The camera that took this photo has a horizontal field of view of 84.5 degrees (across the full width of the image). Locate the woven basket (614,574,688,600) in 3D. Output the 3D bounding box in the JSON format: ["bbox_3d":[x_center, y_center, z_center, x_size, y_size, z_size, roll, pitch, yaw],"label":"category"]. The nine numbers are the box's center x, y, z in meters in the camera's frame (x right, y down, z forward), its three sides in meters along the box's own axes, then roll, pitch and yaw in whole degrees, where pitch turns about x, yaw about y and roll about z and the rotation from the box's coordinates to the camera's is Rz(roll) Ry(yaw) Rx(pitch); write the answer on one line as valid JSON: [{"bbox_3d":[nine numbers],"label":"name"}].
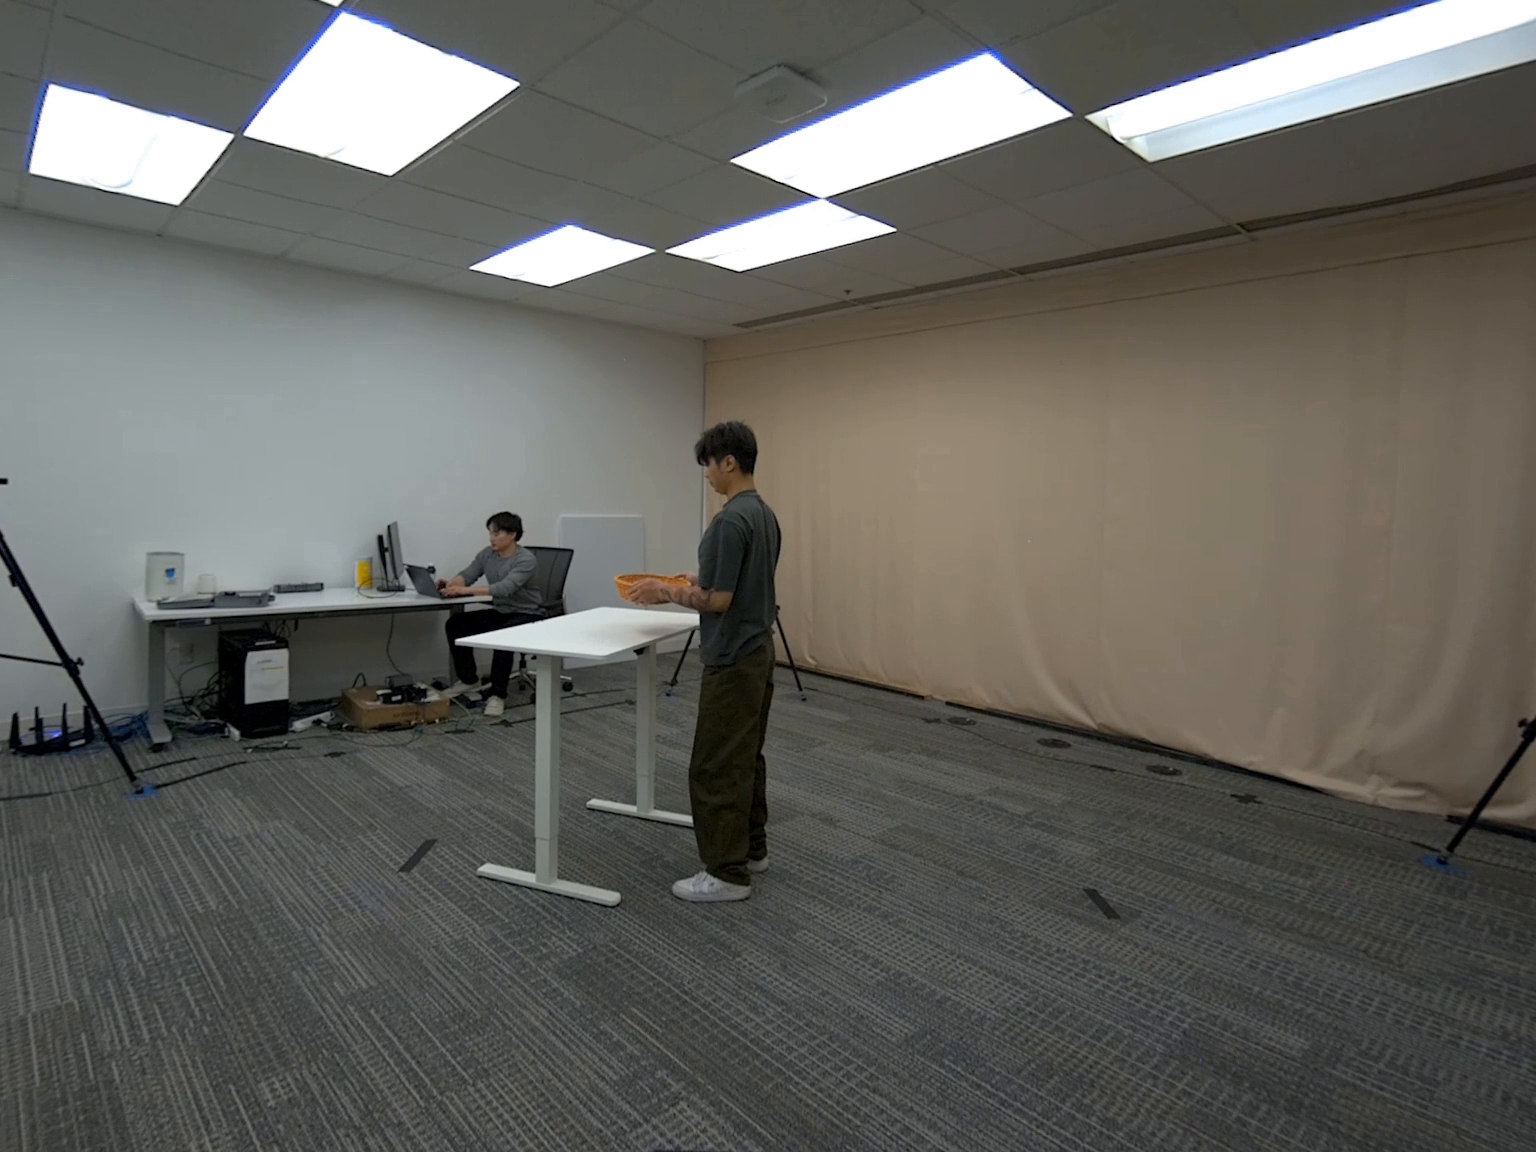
[{"bbox_3d":[-0.425,0.057,3.168,0.252,0.073,0.352,8,5,-2],"label":"woven basket"}]
